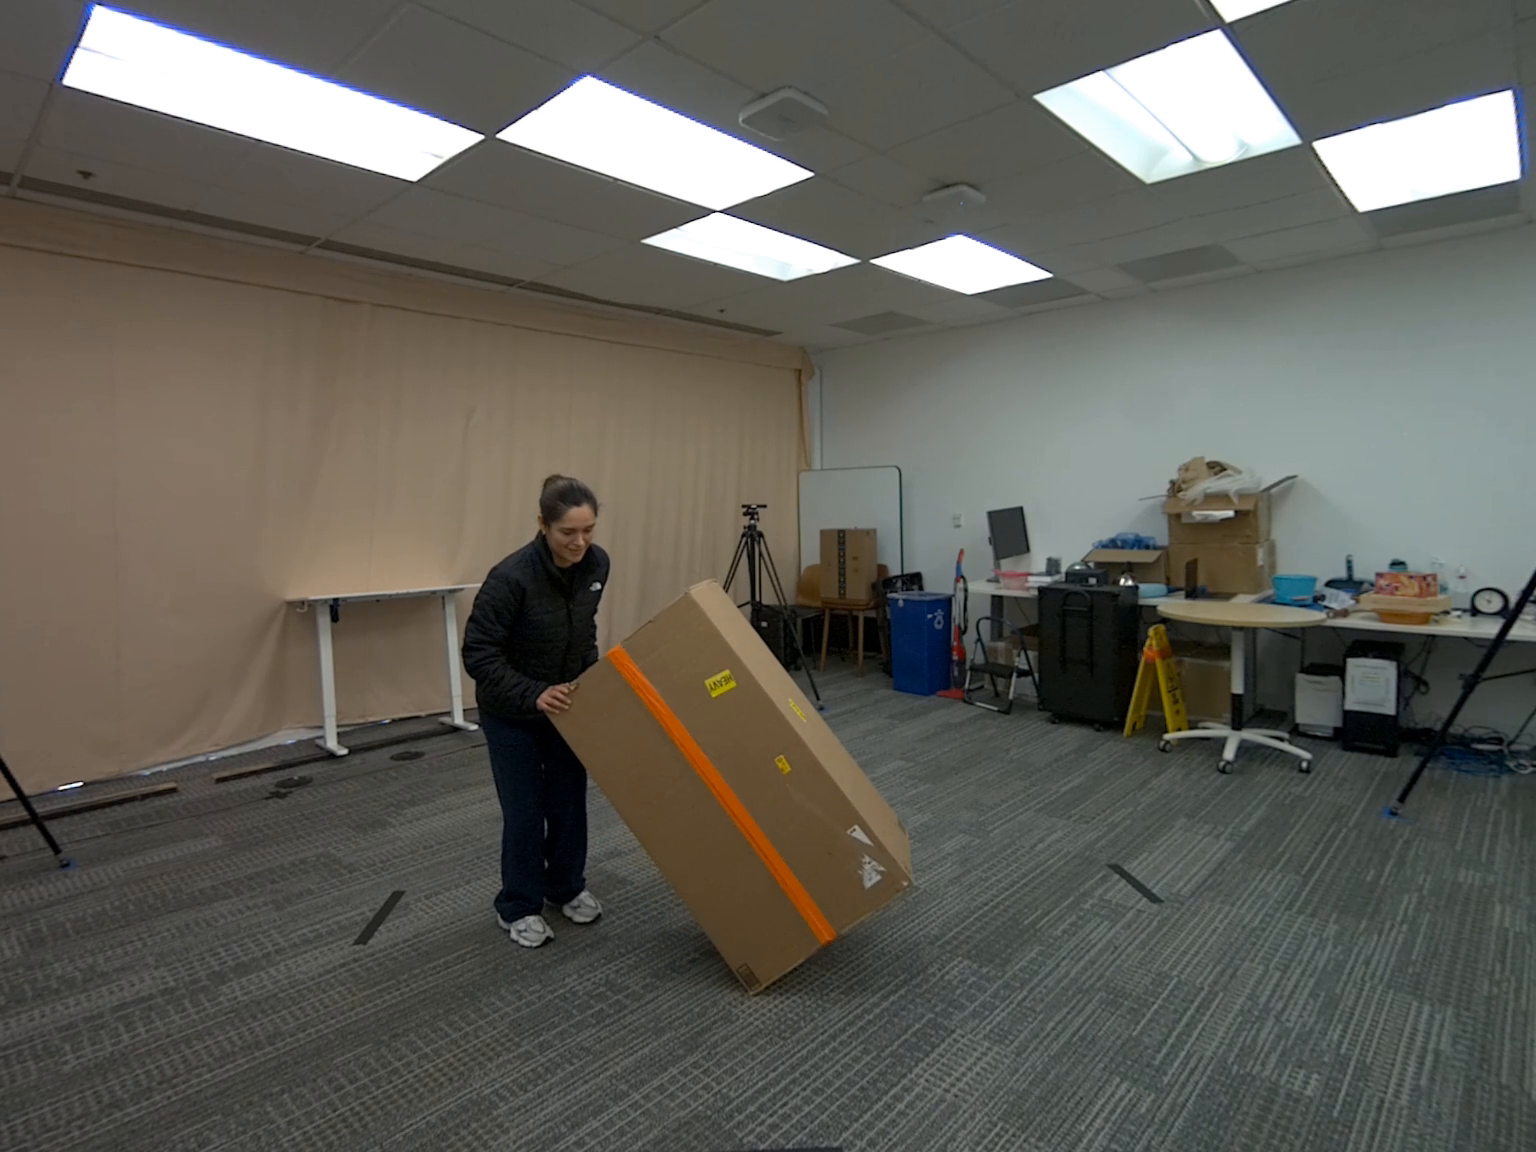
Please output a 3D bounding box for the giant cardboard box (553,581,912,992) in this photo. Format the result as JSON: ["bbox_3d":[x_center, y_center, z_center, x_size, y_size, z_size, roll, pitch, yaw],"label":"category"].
[{"bbox_3d":[-0.093,0.605,2.587,0.586,1.032,0.442,-39,-4,10],"label":"giant cardboard box"}]
